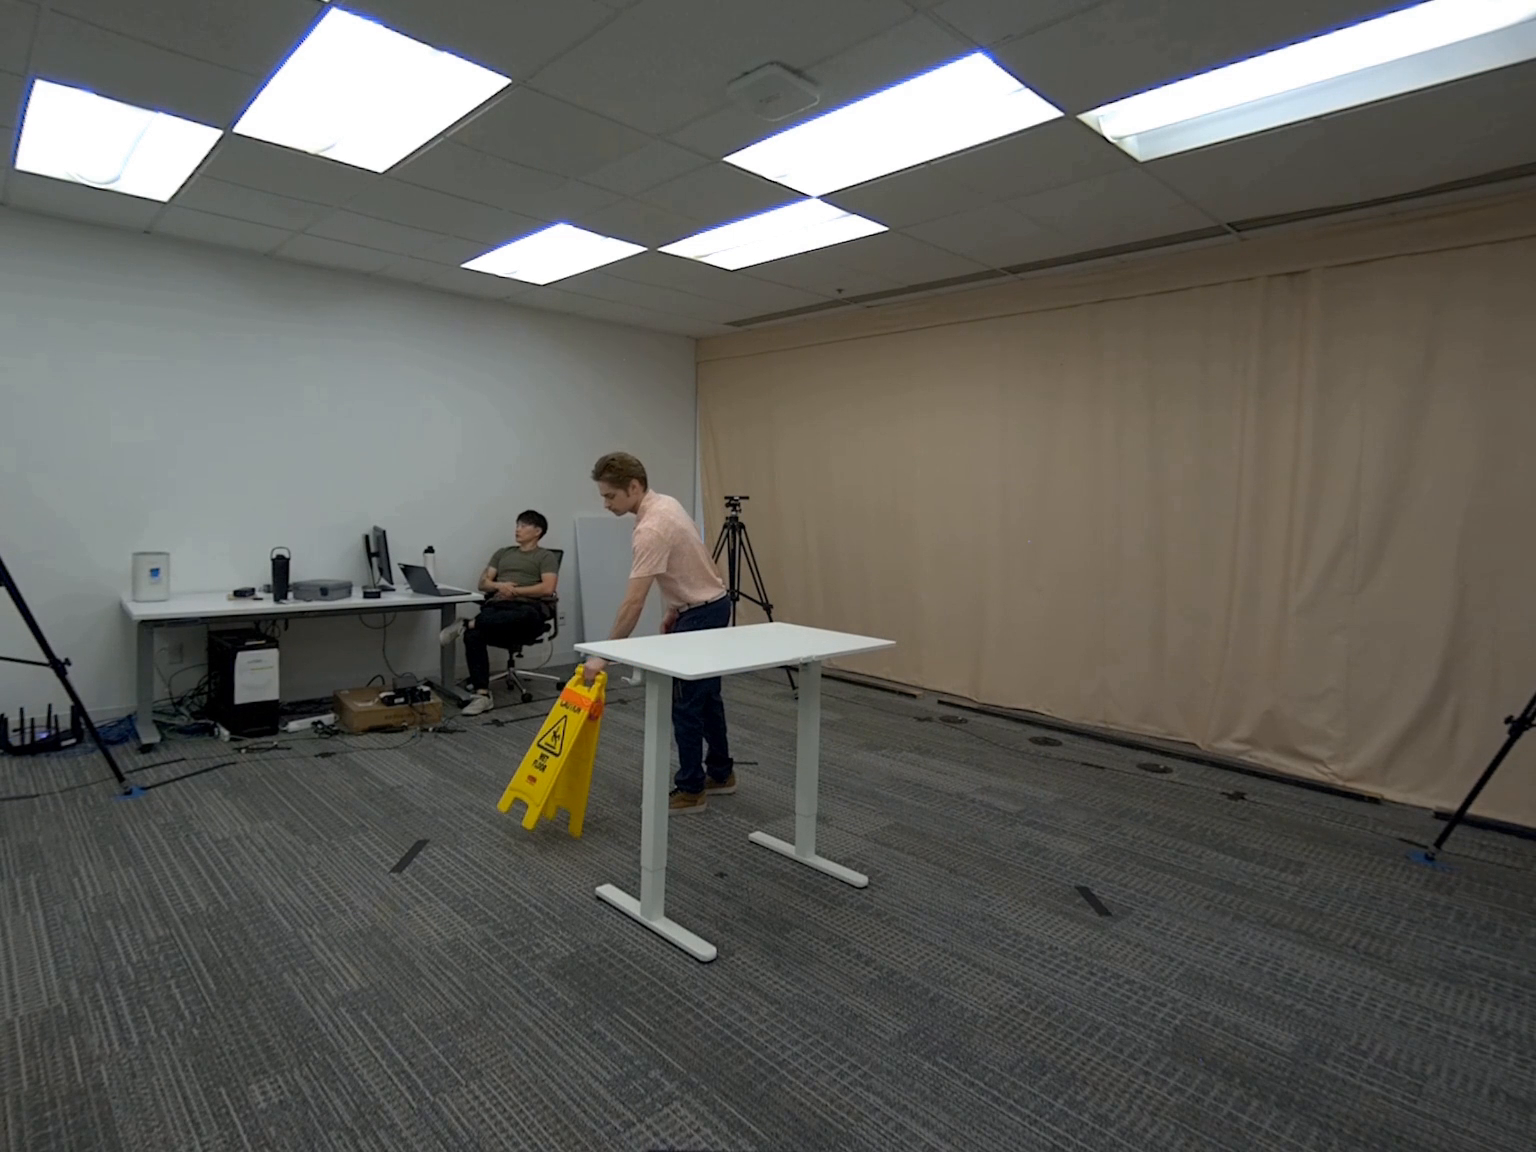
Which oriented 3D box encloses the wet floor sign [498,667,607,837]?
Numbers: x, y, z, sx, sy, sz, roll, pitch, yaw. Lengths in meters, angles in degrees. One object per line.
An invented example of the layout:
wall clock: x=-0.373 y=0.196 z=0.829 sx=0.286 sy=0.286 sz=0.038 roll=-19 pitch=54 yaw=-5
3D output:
wet floor sign: x=-0.834 y=0.691 z=3.449 sx=0.290 sy=0.649 sz=0.281 roll=8 pitch=-13 yaw=45
